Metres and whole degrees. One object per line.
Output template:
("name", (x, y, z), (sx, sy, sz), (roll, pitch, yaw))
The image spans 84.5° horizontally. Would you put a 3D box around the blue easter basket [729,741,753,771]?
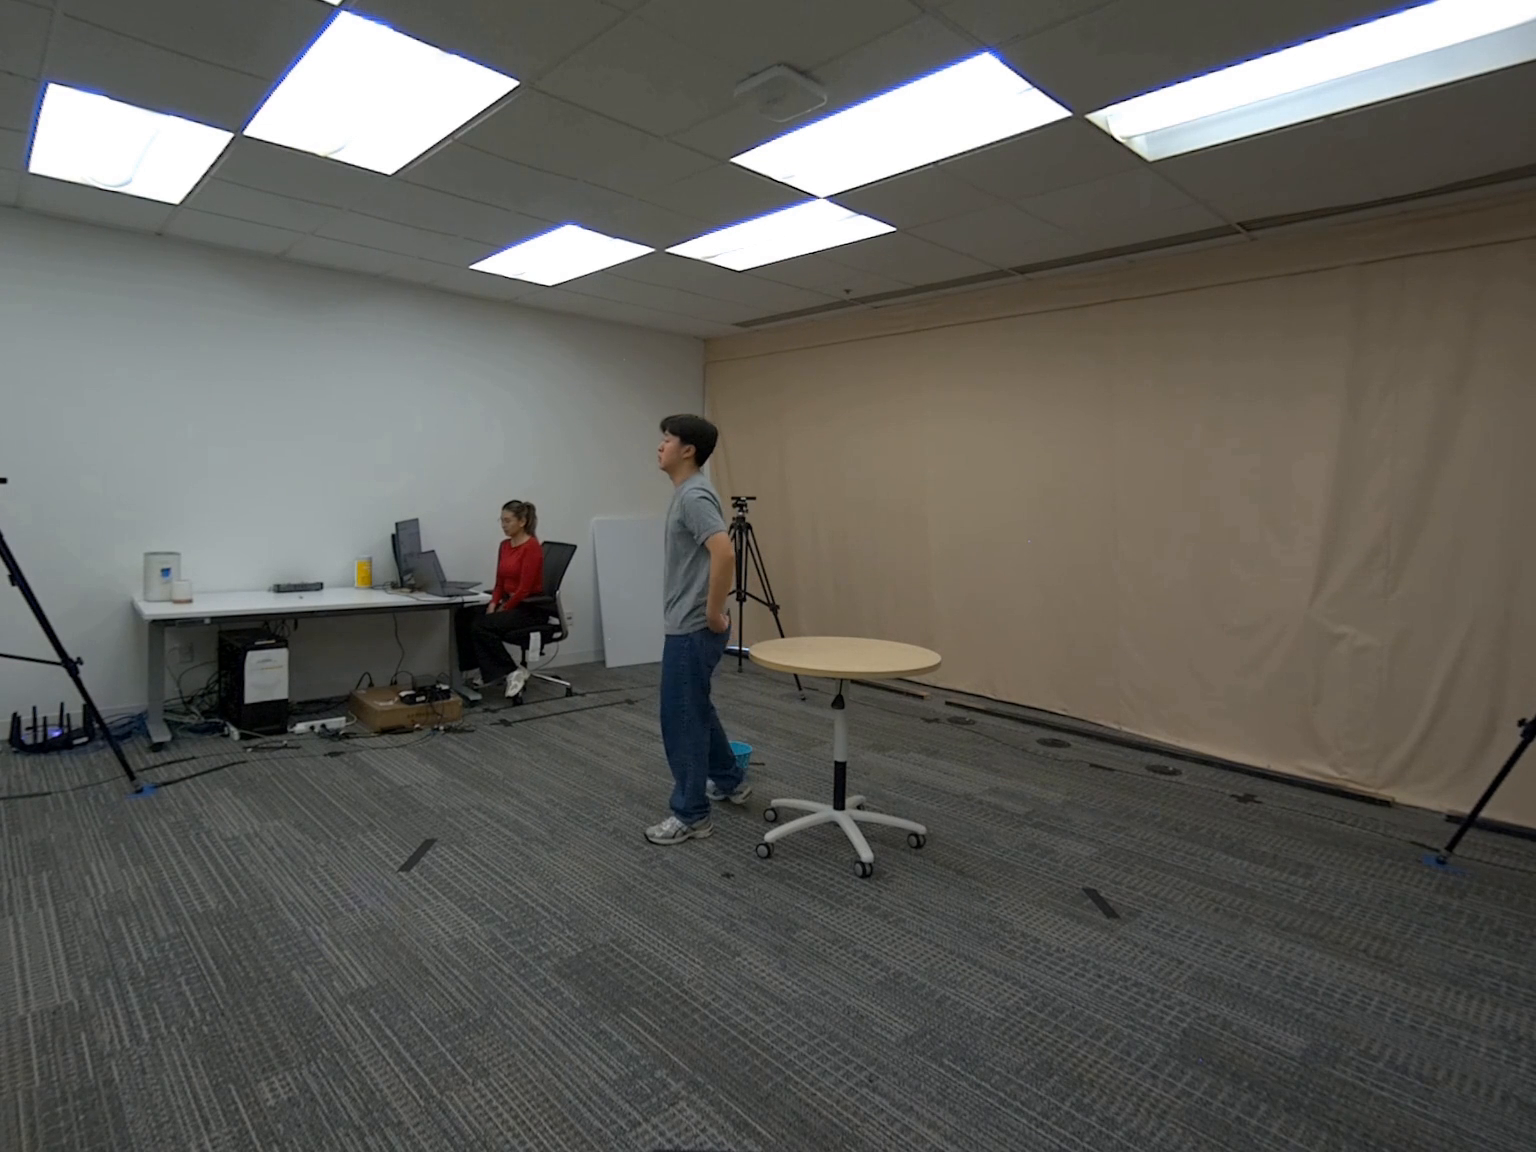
("blue easter basket", (-0.204, 0.933, 4.218), (0.243, 0.155, 0.244), (2, 5, -2))
